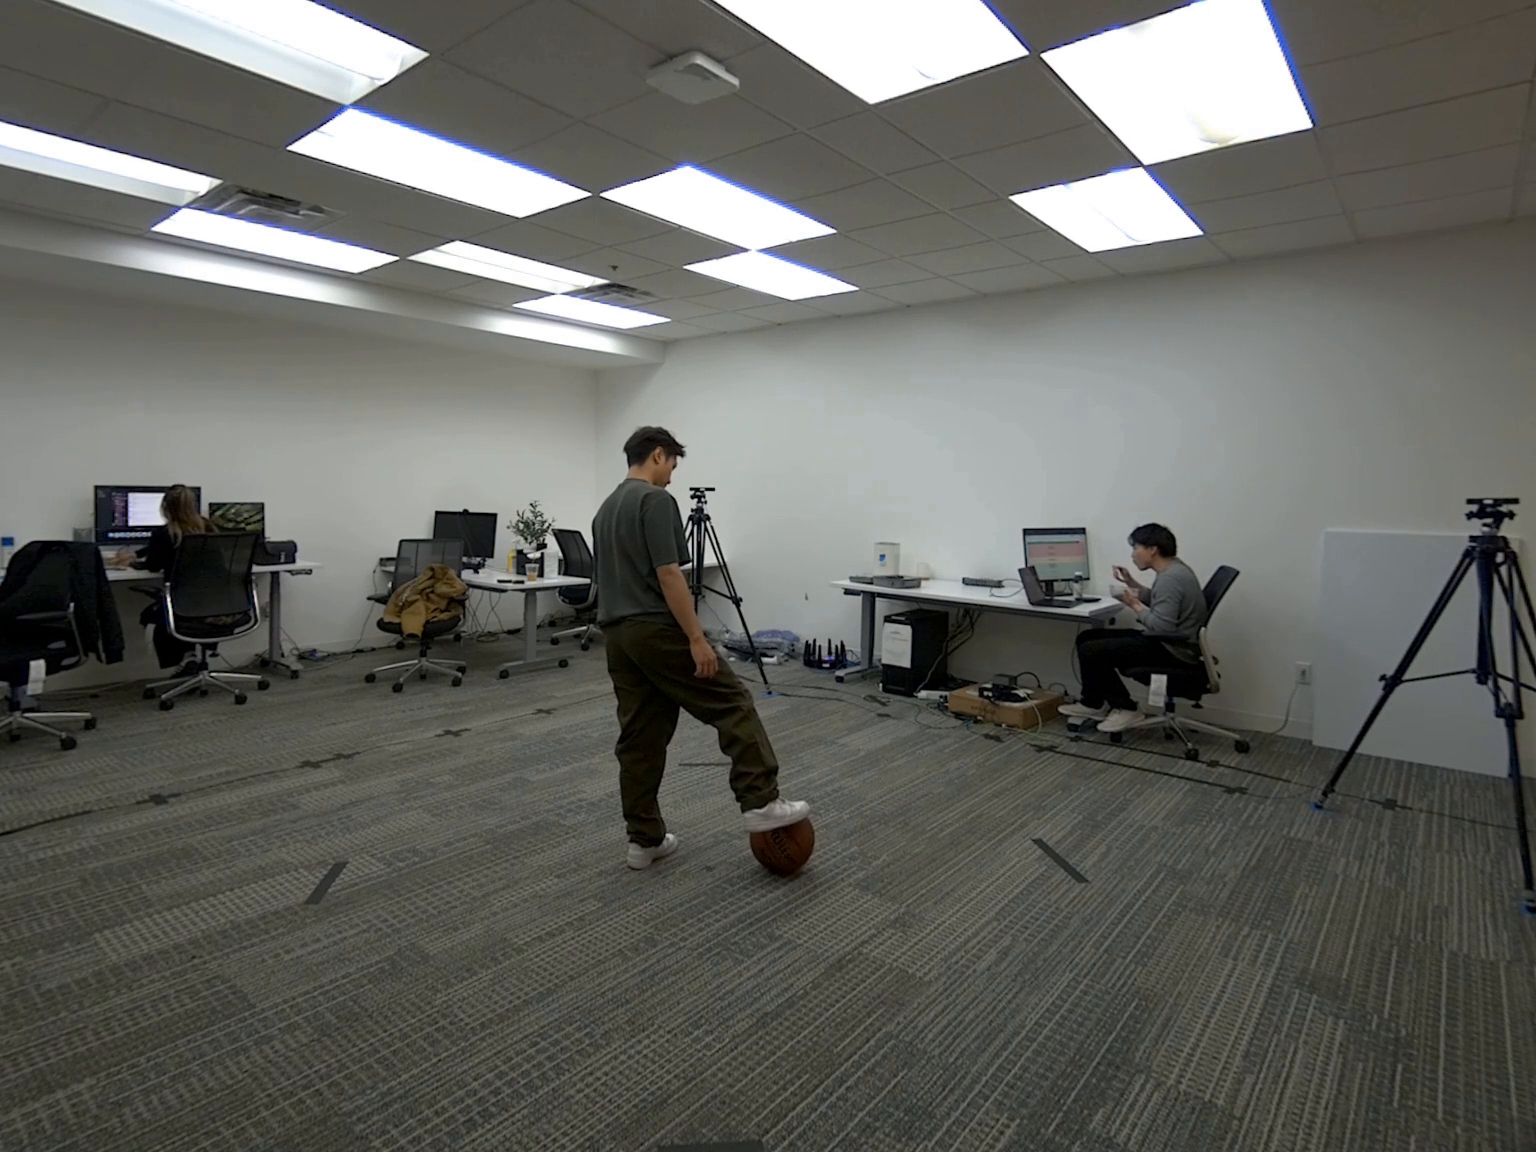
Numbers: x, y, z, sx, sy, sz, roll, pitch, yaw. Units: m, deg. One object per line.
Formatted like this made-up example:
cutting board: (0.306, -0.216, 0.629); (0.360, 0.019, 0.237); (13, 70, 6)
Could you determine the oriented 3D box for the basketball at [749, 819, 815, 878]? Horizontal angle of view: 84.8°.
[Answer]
basketball: (0.041, 0.953, 3.108); (0.235, 0.235, 0.237); (1, 4, -2)
